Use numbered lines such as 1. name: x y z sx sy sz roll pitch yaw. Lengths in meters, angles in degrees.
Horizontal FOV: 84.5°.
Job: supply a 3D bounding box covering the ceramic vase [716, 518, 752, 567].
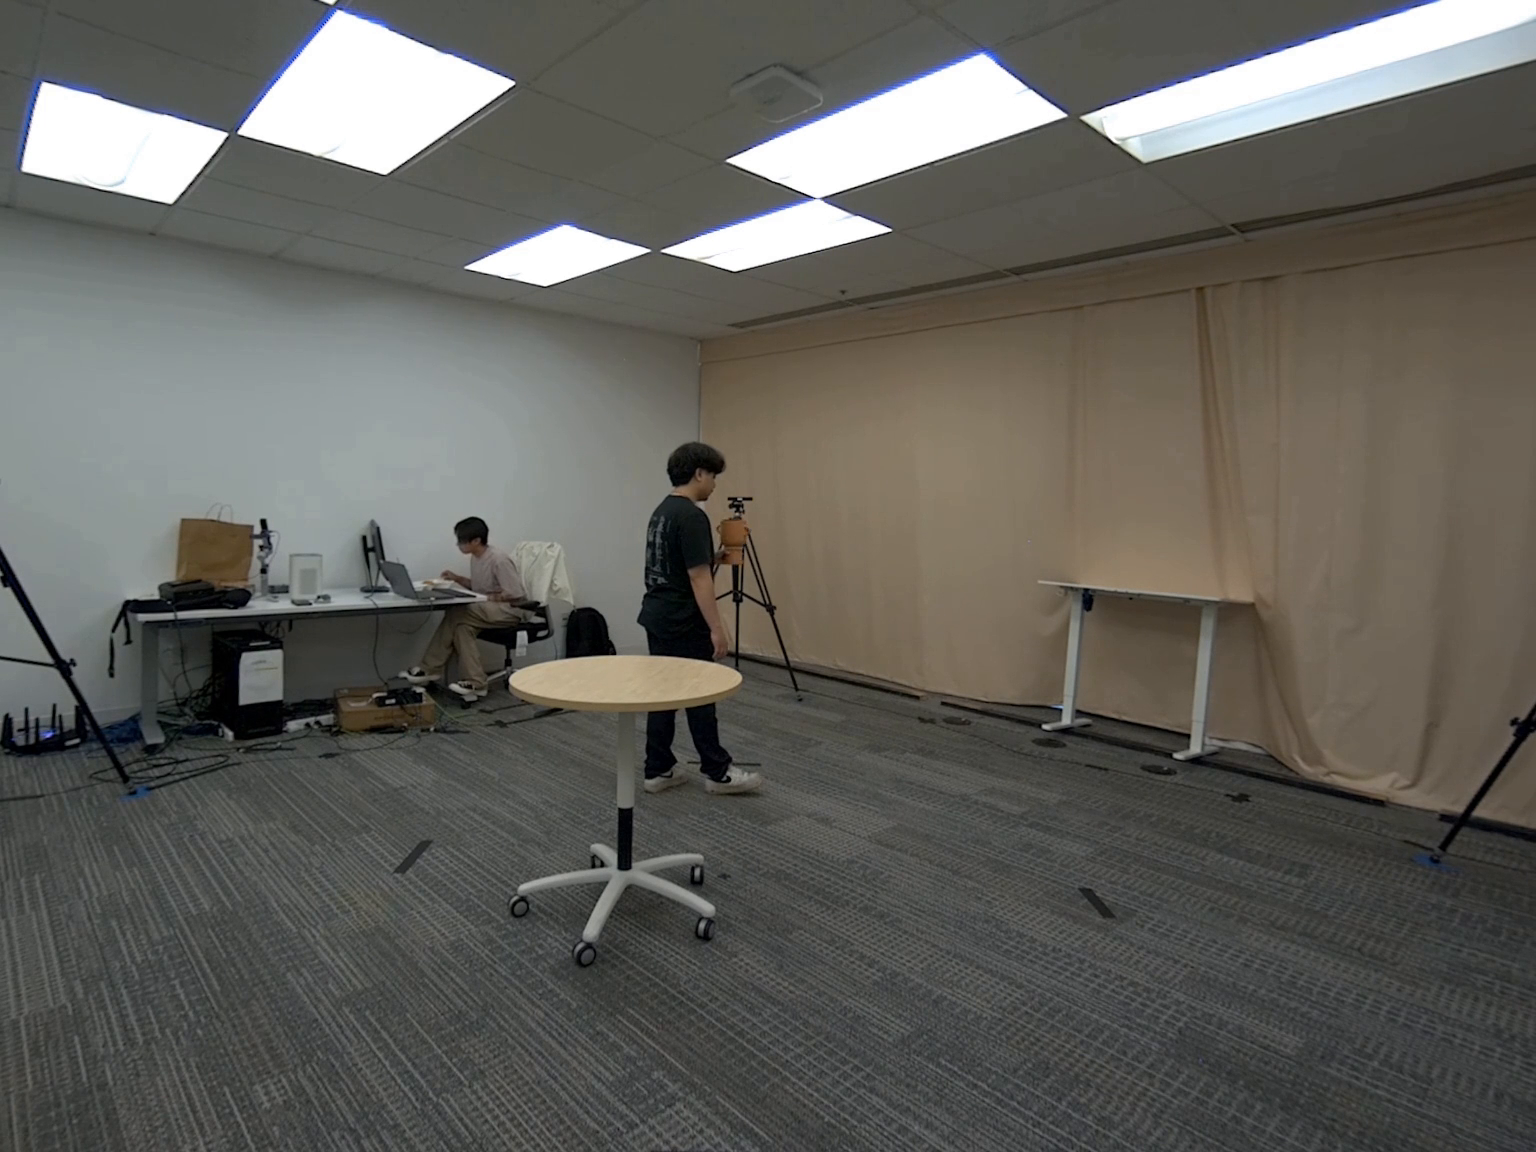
1. ceramic vase: -0.172 -0.171 4.198 0.133 0.219 0.162 -2 6 -19
